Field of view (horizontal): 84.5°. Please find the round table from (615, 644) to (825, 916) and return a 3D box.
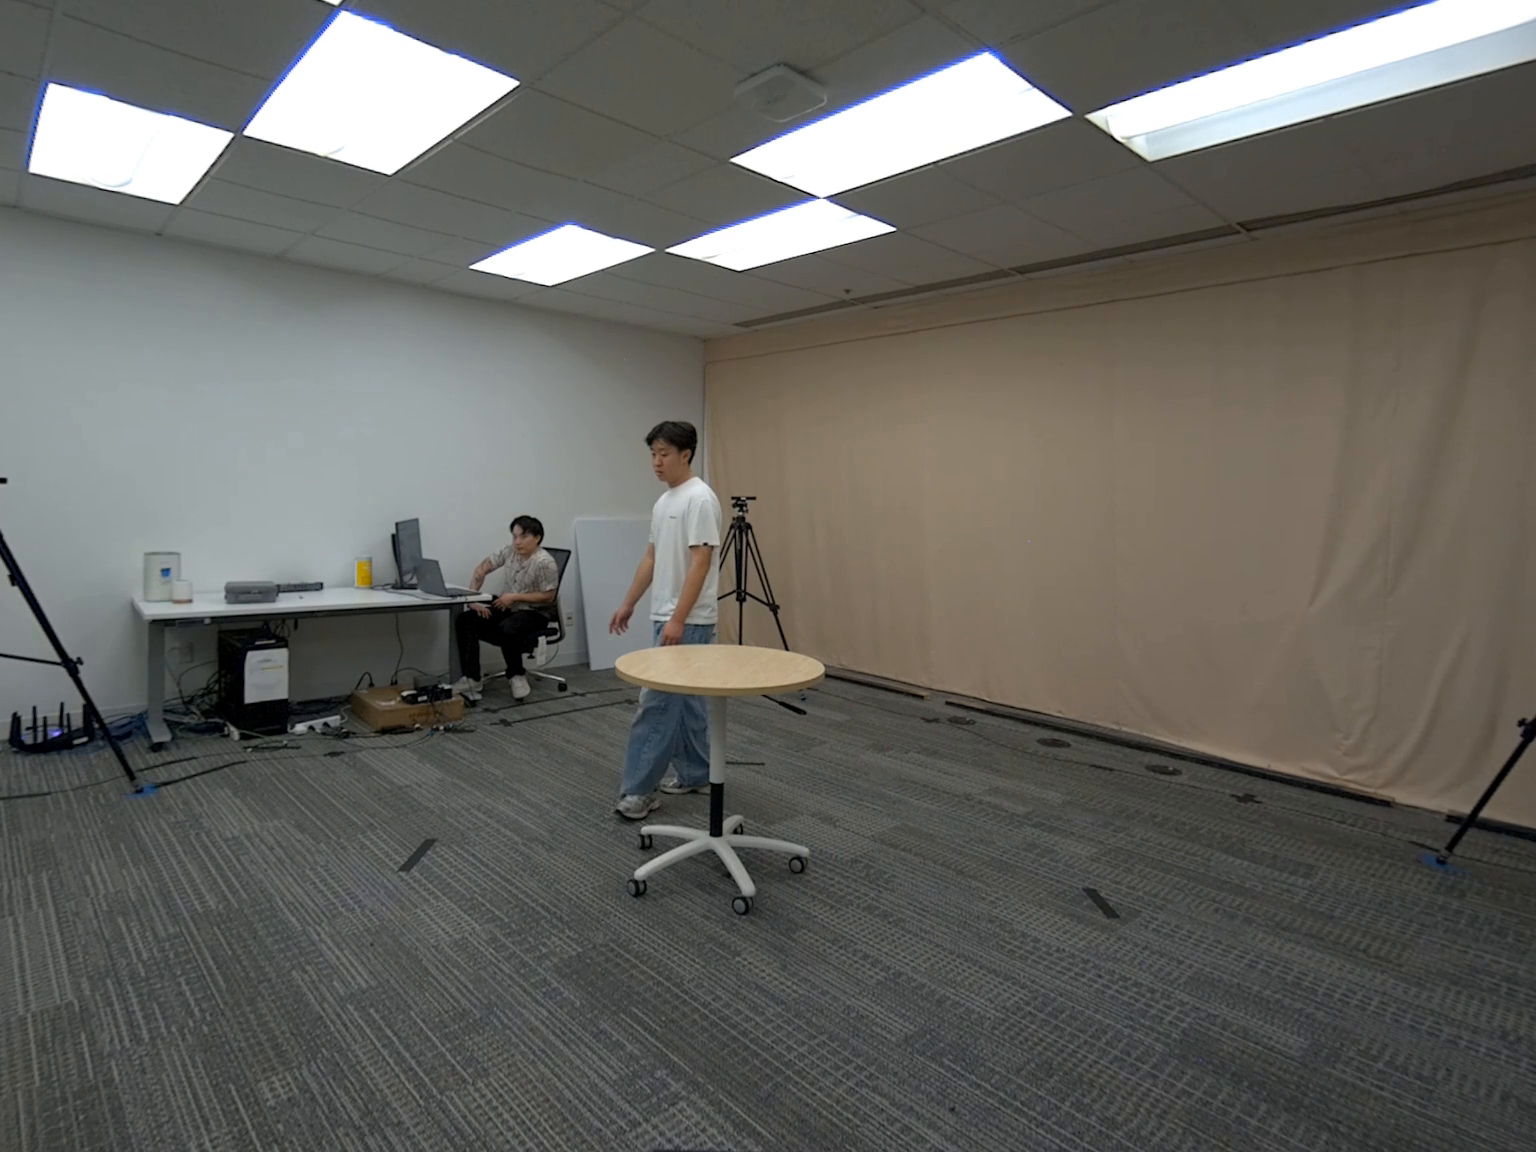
[{"bbox_3d":[-0.190,0.716,3.106,0.763,0.792,0.767,1,4,-1],"label":"round table"}]
